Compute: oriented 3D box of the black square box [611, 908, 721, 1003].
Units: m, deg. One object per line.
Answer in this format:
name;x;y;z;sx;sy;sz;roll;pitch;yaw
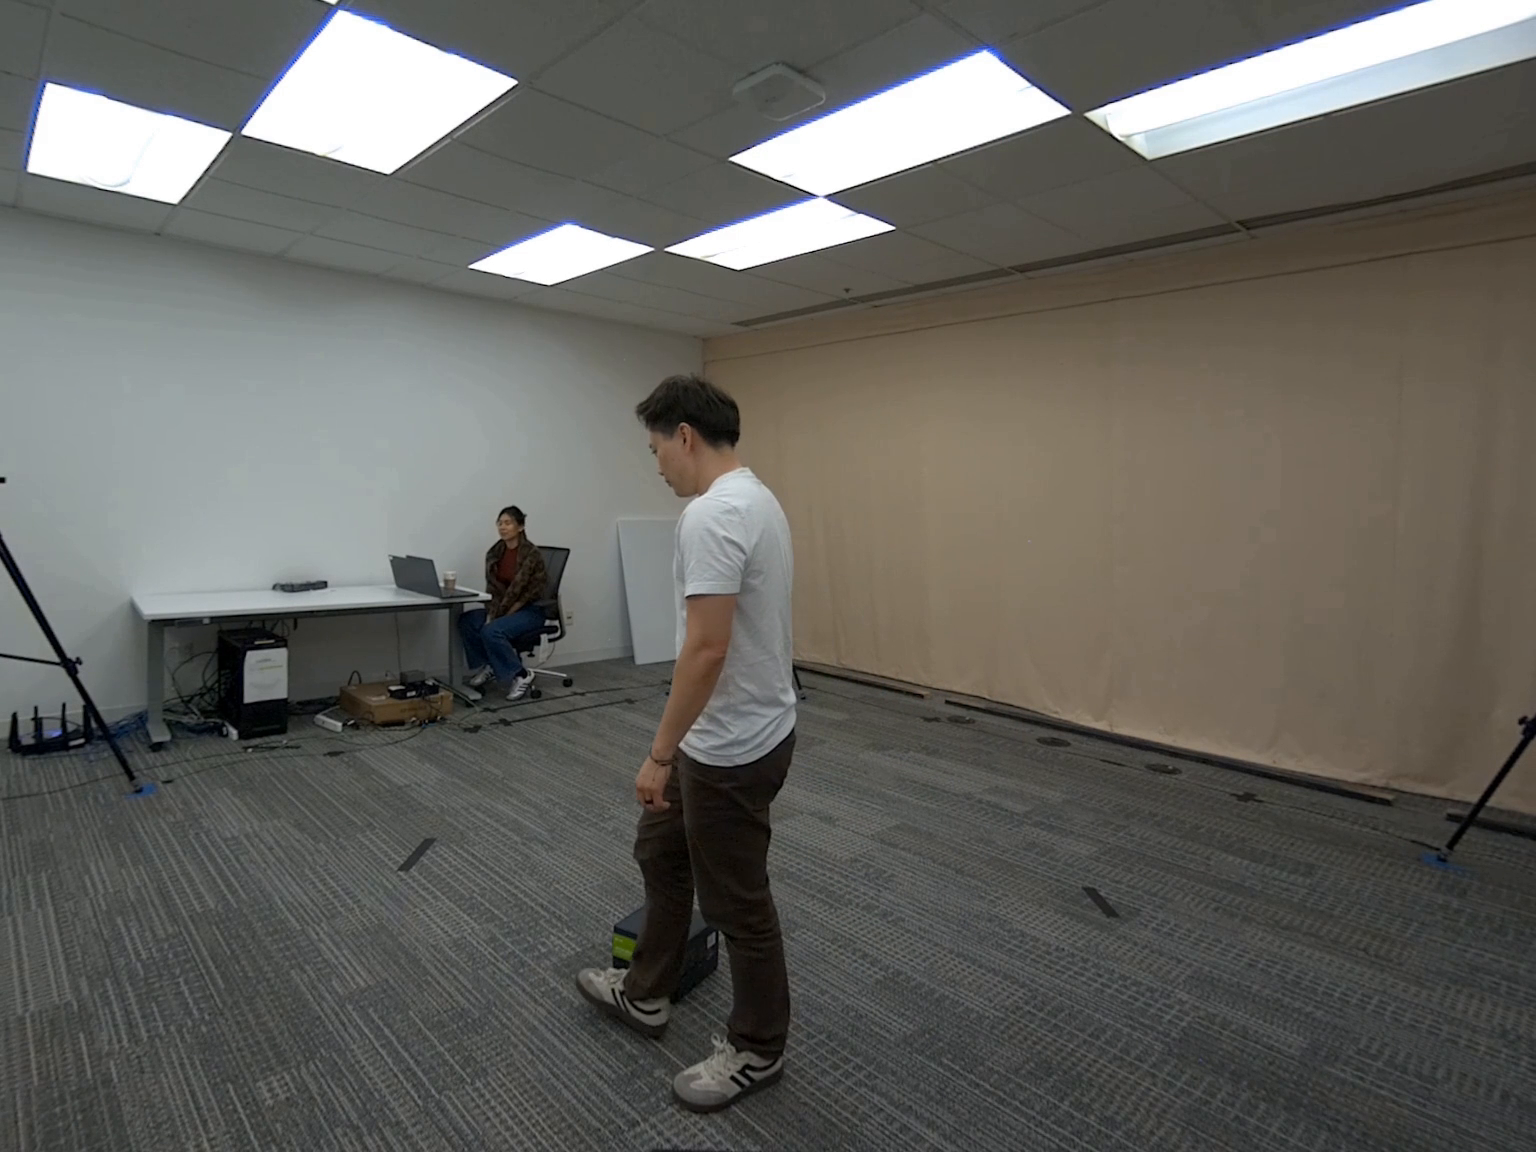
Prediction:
black square box;-0.302;1.079;2.441;0.233;0.155;0.213;4;5;30
